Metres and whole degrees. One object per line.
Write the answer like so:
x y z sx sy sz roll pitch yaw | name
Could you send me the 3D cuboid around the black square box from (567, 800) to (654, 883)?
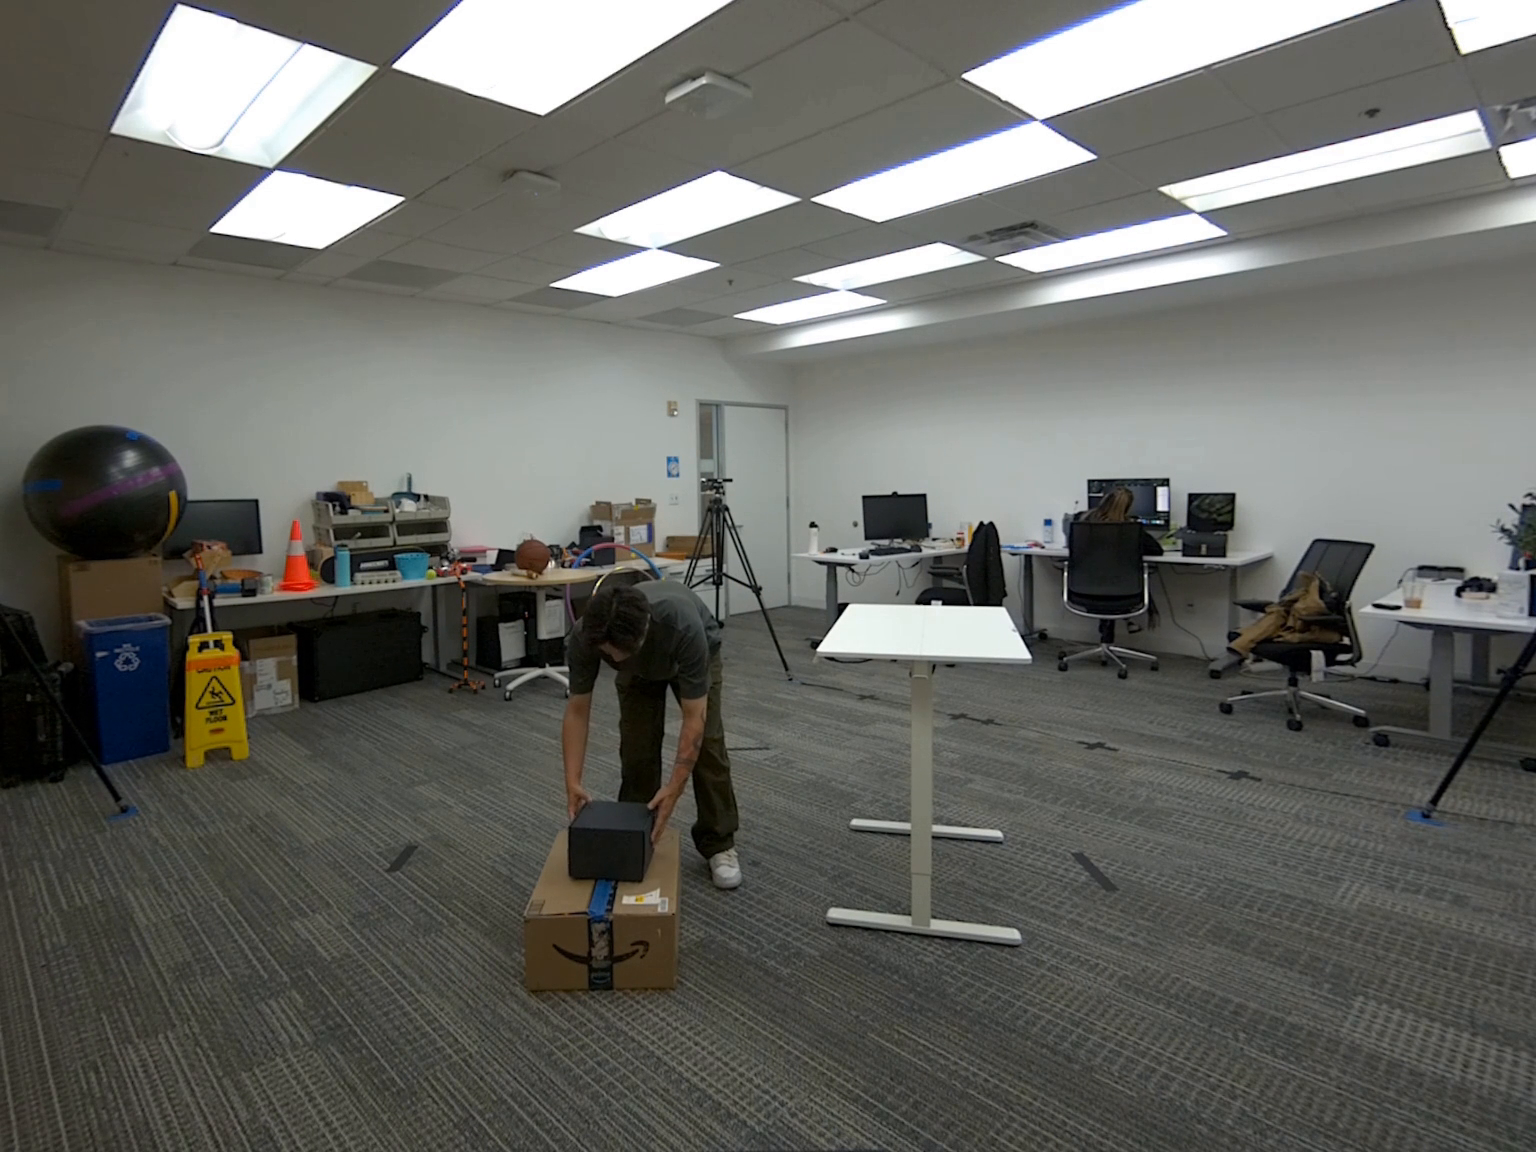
-0.473 0.806 2.622 0.229 0.155 0.217 0 7 3 | black square box
